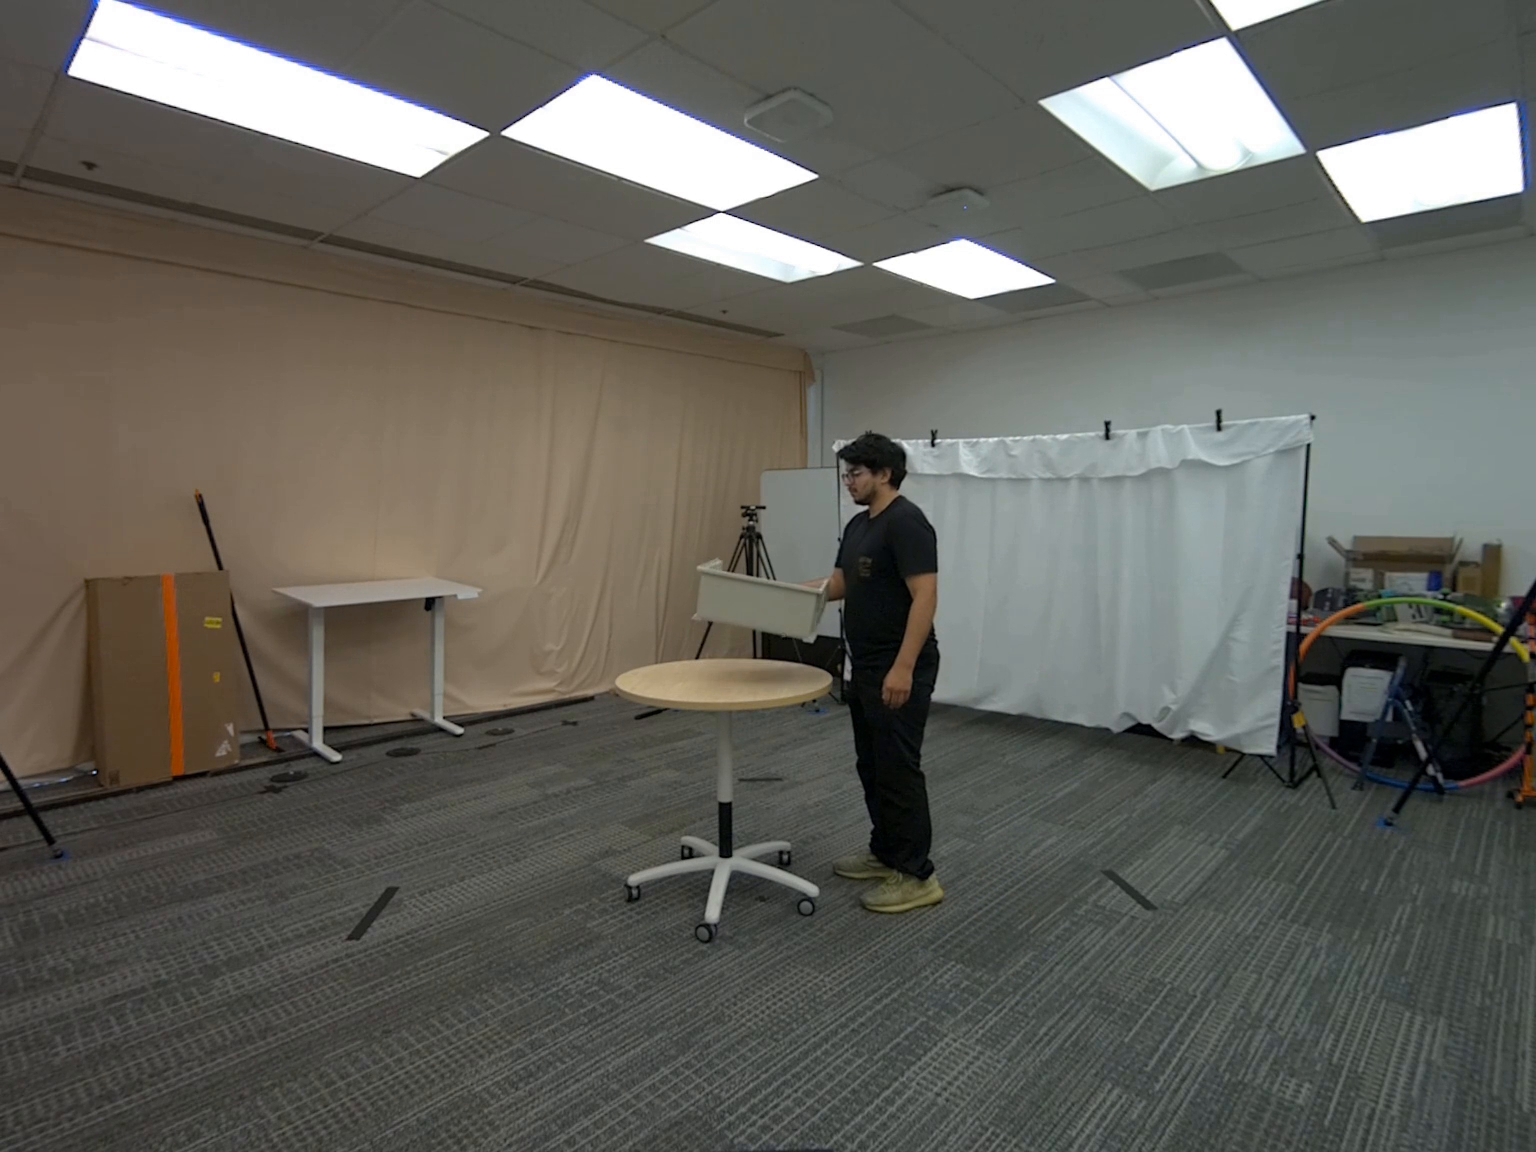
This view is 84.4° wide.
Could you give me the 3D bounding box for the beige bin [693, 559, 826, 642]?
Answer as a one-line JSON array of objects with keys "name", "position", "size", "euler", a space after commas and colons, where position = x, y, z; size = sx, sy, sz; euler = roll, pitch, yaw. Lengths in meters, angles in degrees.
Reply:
[{"name": "beige bin", "position": [-0.011, 0.080, 2.933], "size": [0.427, 0.188, 0.375], "euler": [10, 10, 9]}]
